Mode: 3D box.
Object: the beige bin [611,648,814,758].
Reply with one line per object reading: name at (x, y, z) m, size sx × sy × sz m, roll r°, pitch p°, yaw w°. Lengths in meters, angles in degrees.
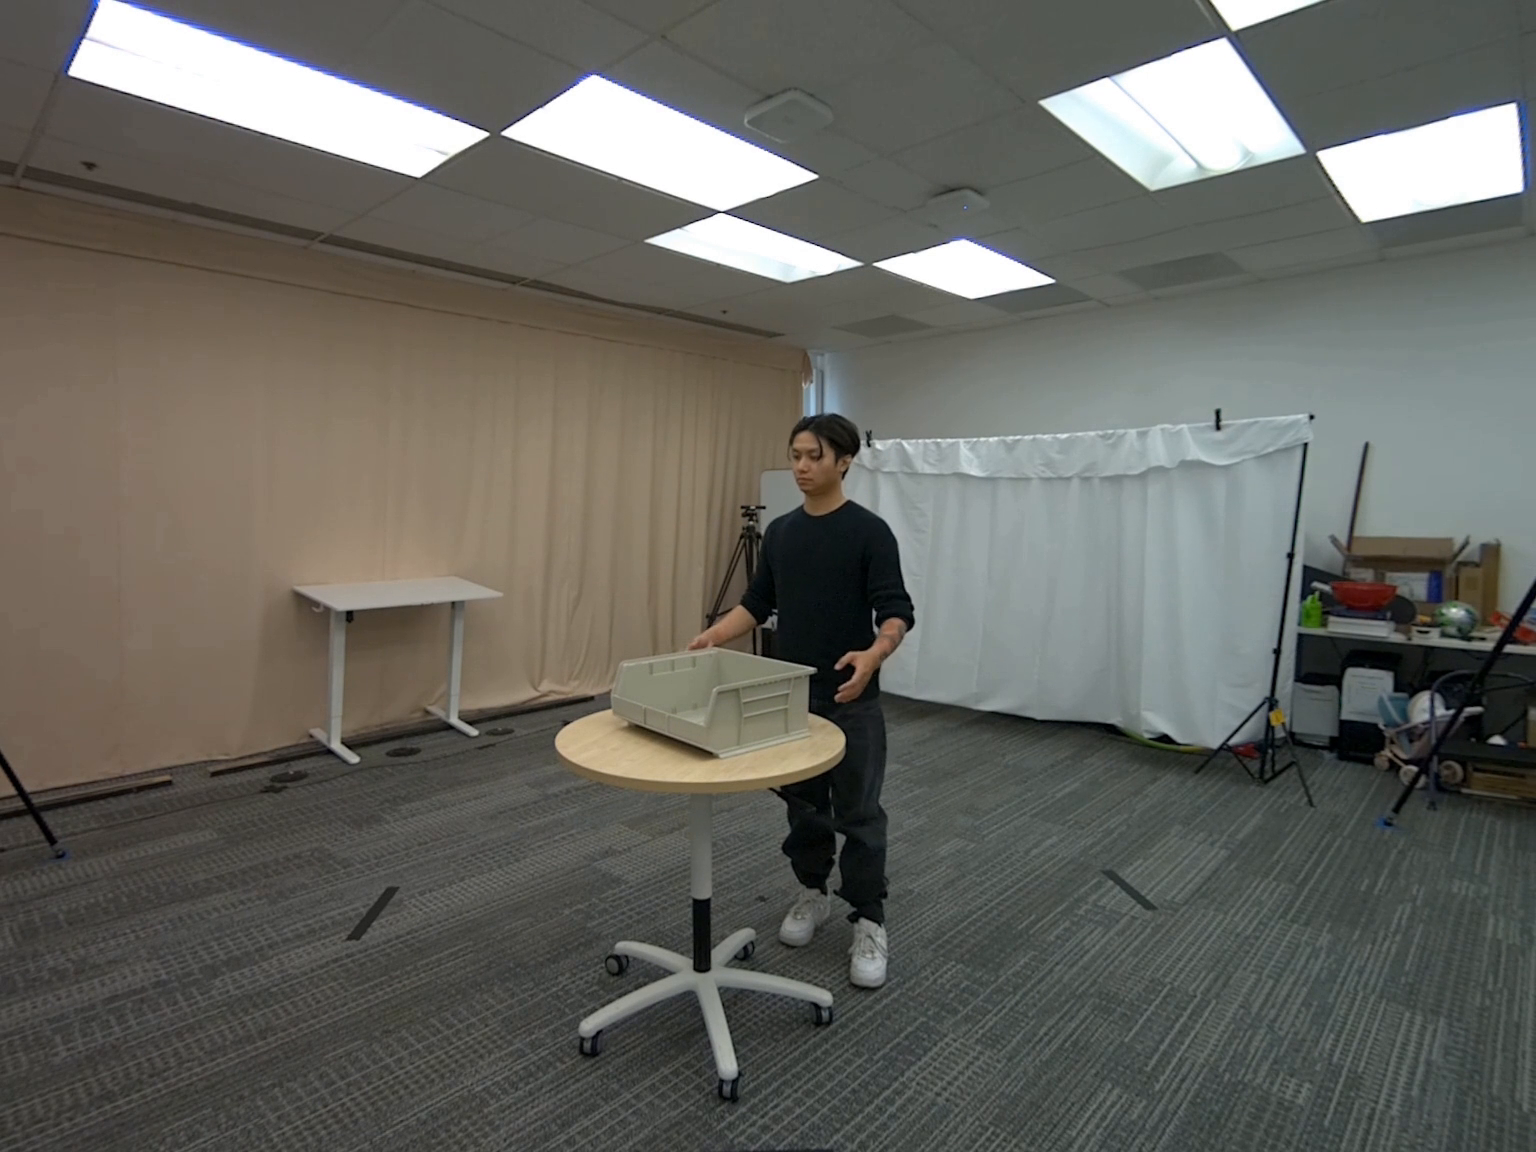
beige bin at (-0.161, 0.329, 2.263) m, size 0.365 × 0.188 × 0.436 m, roll -1°, pitch 5°, yaw -42°
